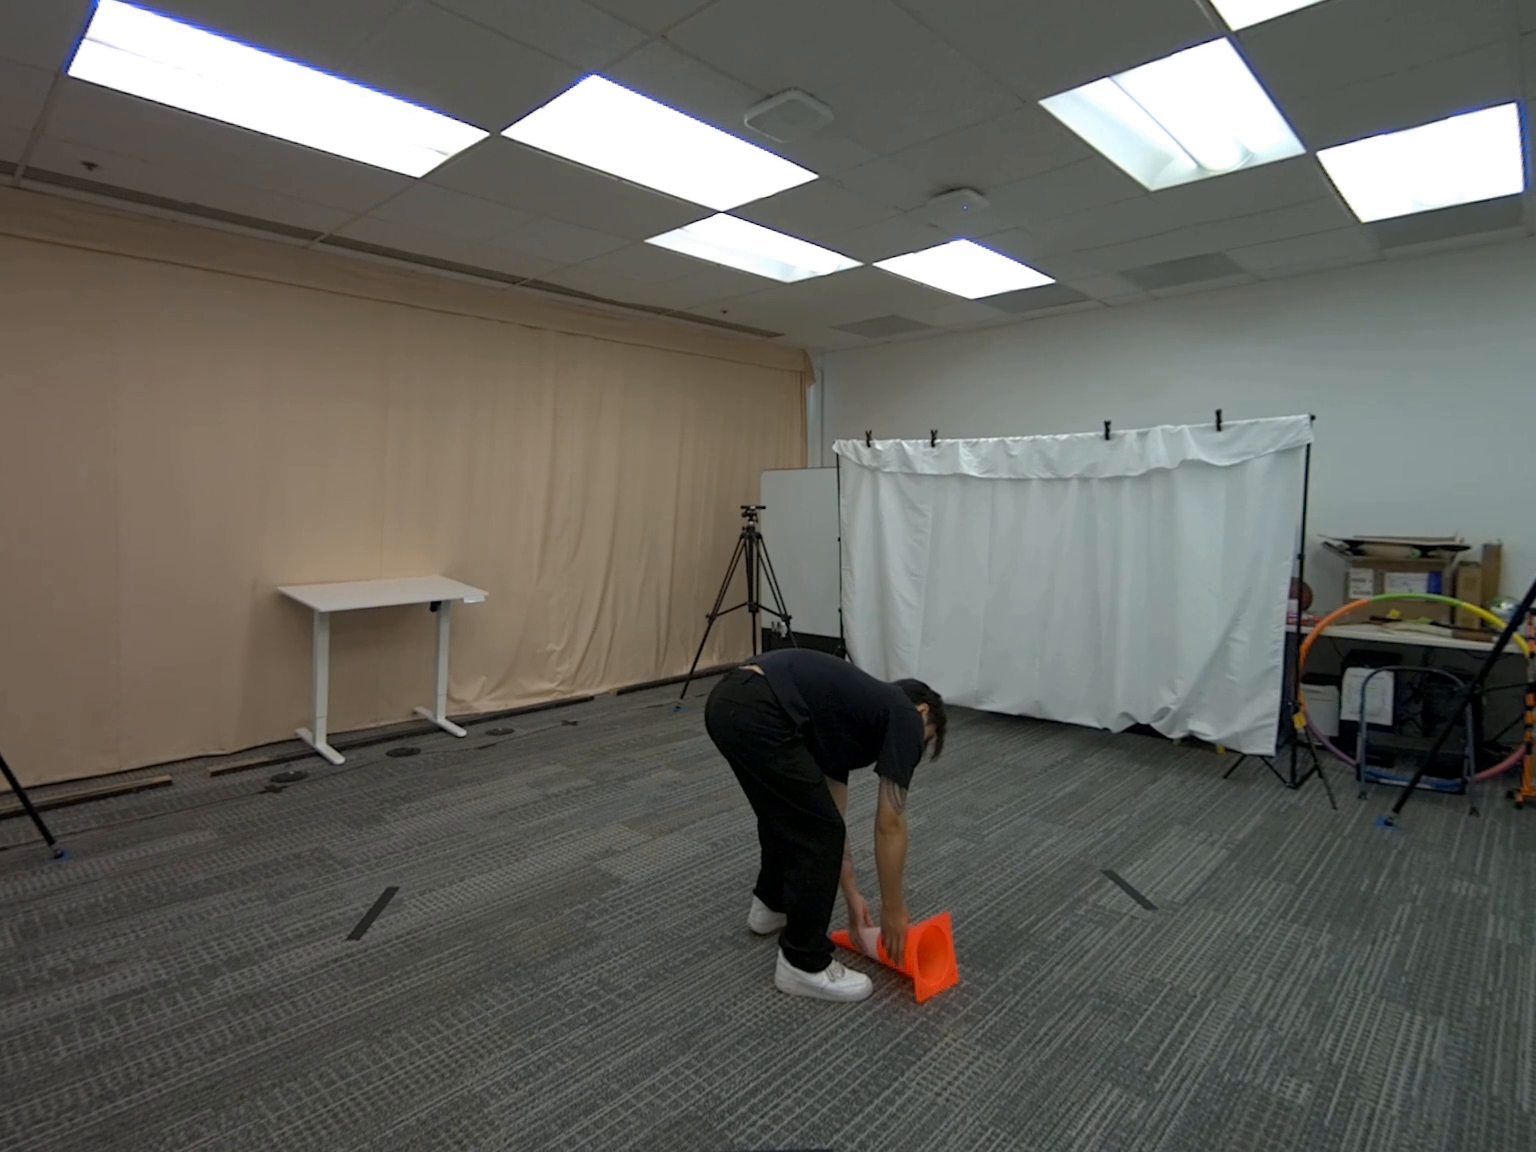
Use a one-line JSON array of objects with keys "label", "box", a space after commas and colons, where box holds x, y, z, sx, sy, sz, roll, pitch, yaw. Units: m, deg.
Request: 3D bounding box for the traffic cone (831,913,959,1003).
[{"label": "traffic cone", "box": [0.353, 1.121, 2.561, 0.198, 0.205, 0.394, 3, -12, -43]}]
